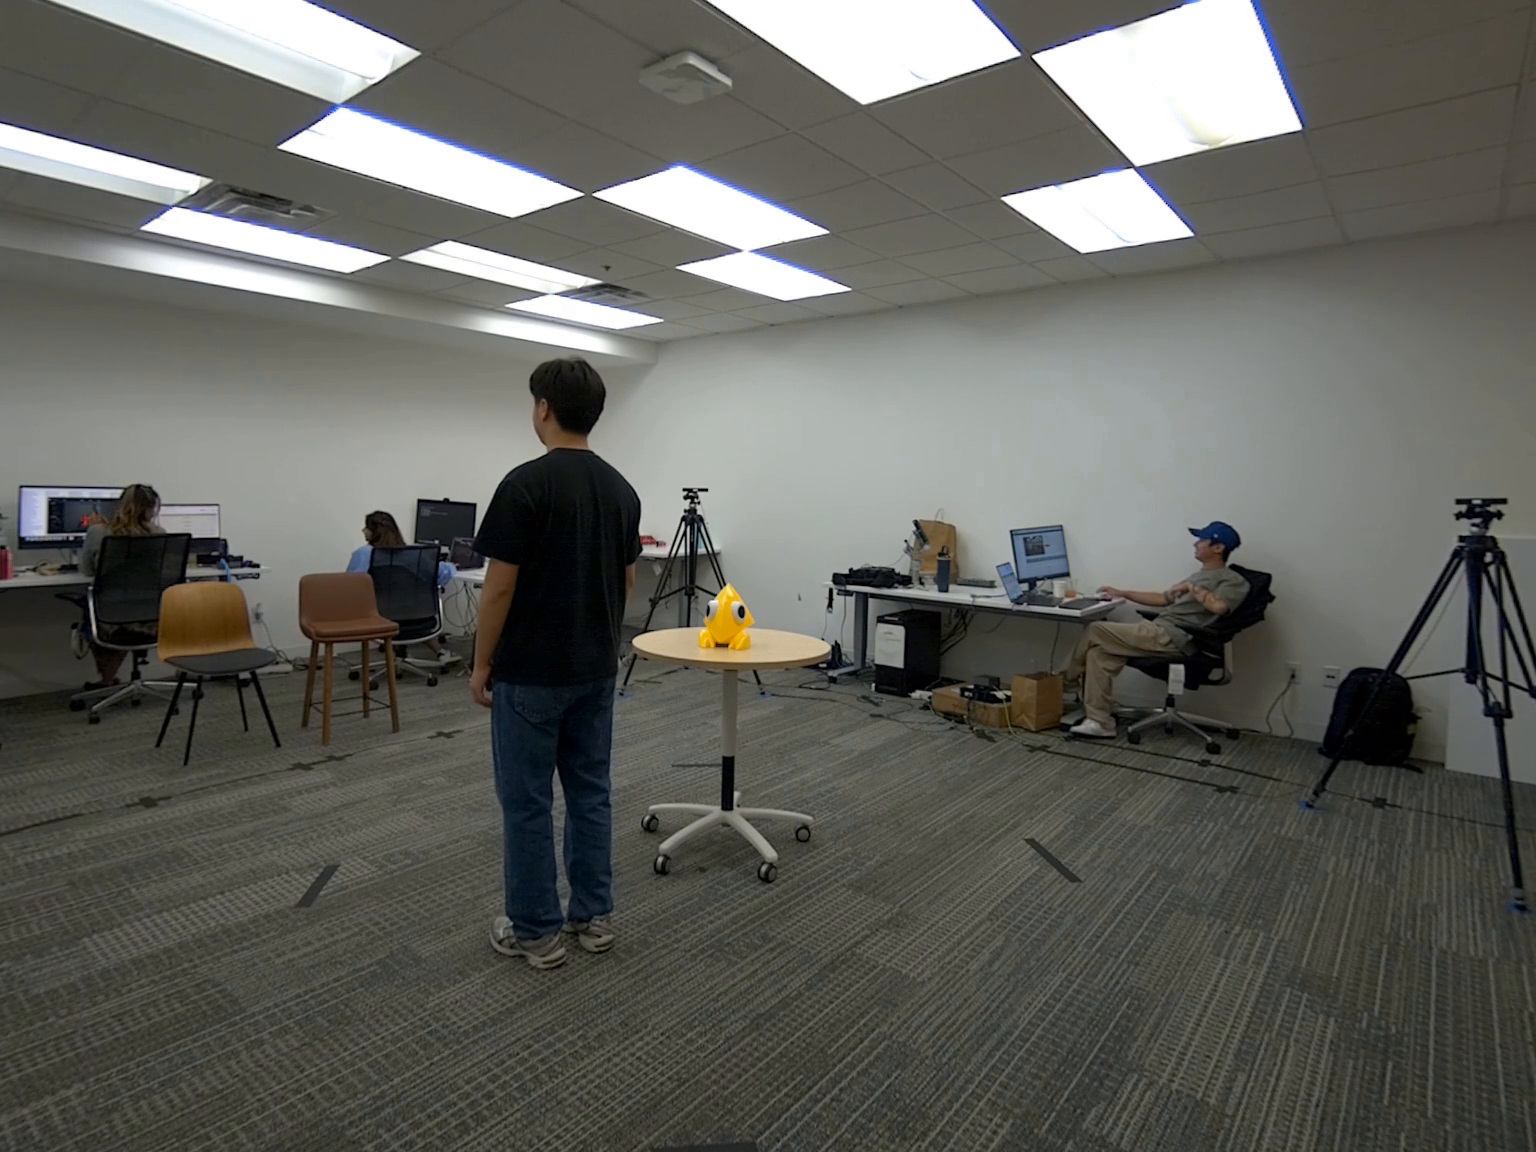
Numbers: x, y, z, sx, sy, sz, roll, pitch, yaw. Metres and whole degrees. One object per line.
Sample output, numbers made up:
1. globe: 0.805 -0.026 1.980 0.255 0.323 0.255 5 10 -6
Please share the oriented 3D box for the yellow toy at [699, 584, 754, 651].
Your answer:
1. yellow toy: -0.172 0.144 3.243 0.207 0.230 0.192 2 3 8
